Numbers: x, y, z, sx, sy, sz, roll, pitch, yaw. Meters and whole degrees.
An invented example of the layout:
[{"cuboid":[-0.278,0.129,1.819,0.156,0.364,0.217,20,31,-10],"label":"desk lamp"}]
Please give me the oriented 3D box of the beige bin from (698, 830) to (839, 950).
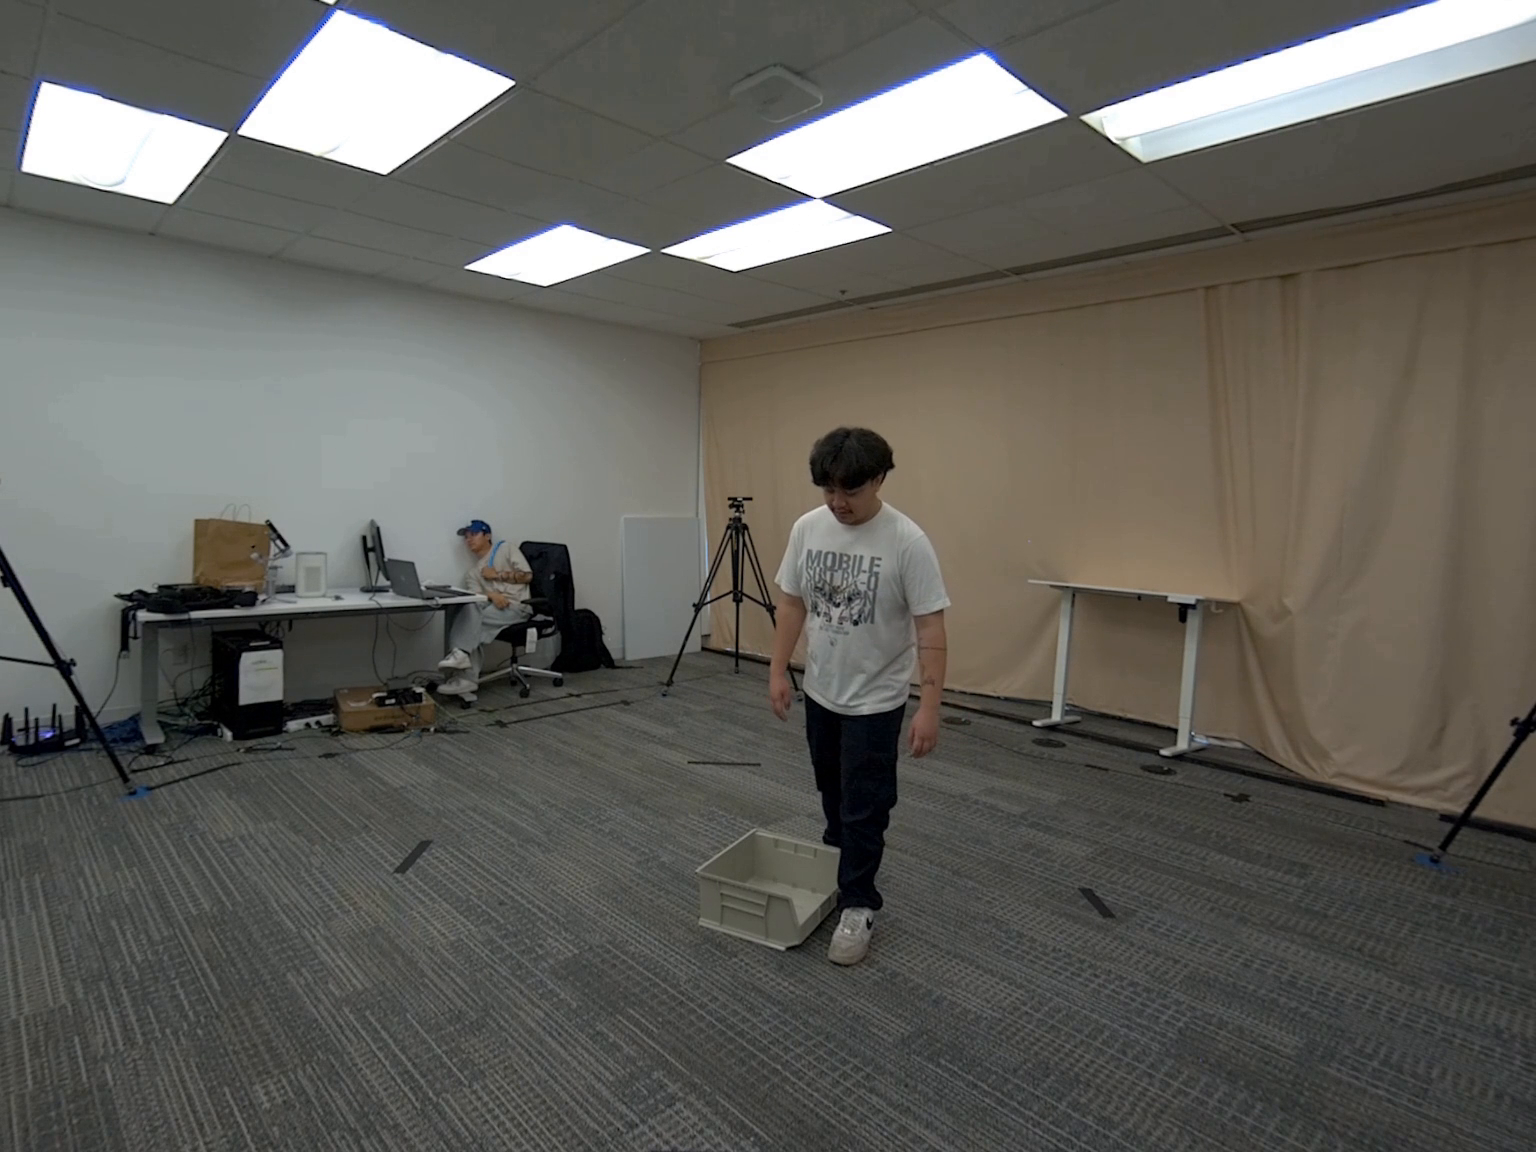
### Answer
[{"cuboid":[0.017,1.046,2.832,0.385,0.188,0.415,2,5,28],"label":"beige bin"}]
